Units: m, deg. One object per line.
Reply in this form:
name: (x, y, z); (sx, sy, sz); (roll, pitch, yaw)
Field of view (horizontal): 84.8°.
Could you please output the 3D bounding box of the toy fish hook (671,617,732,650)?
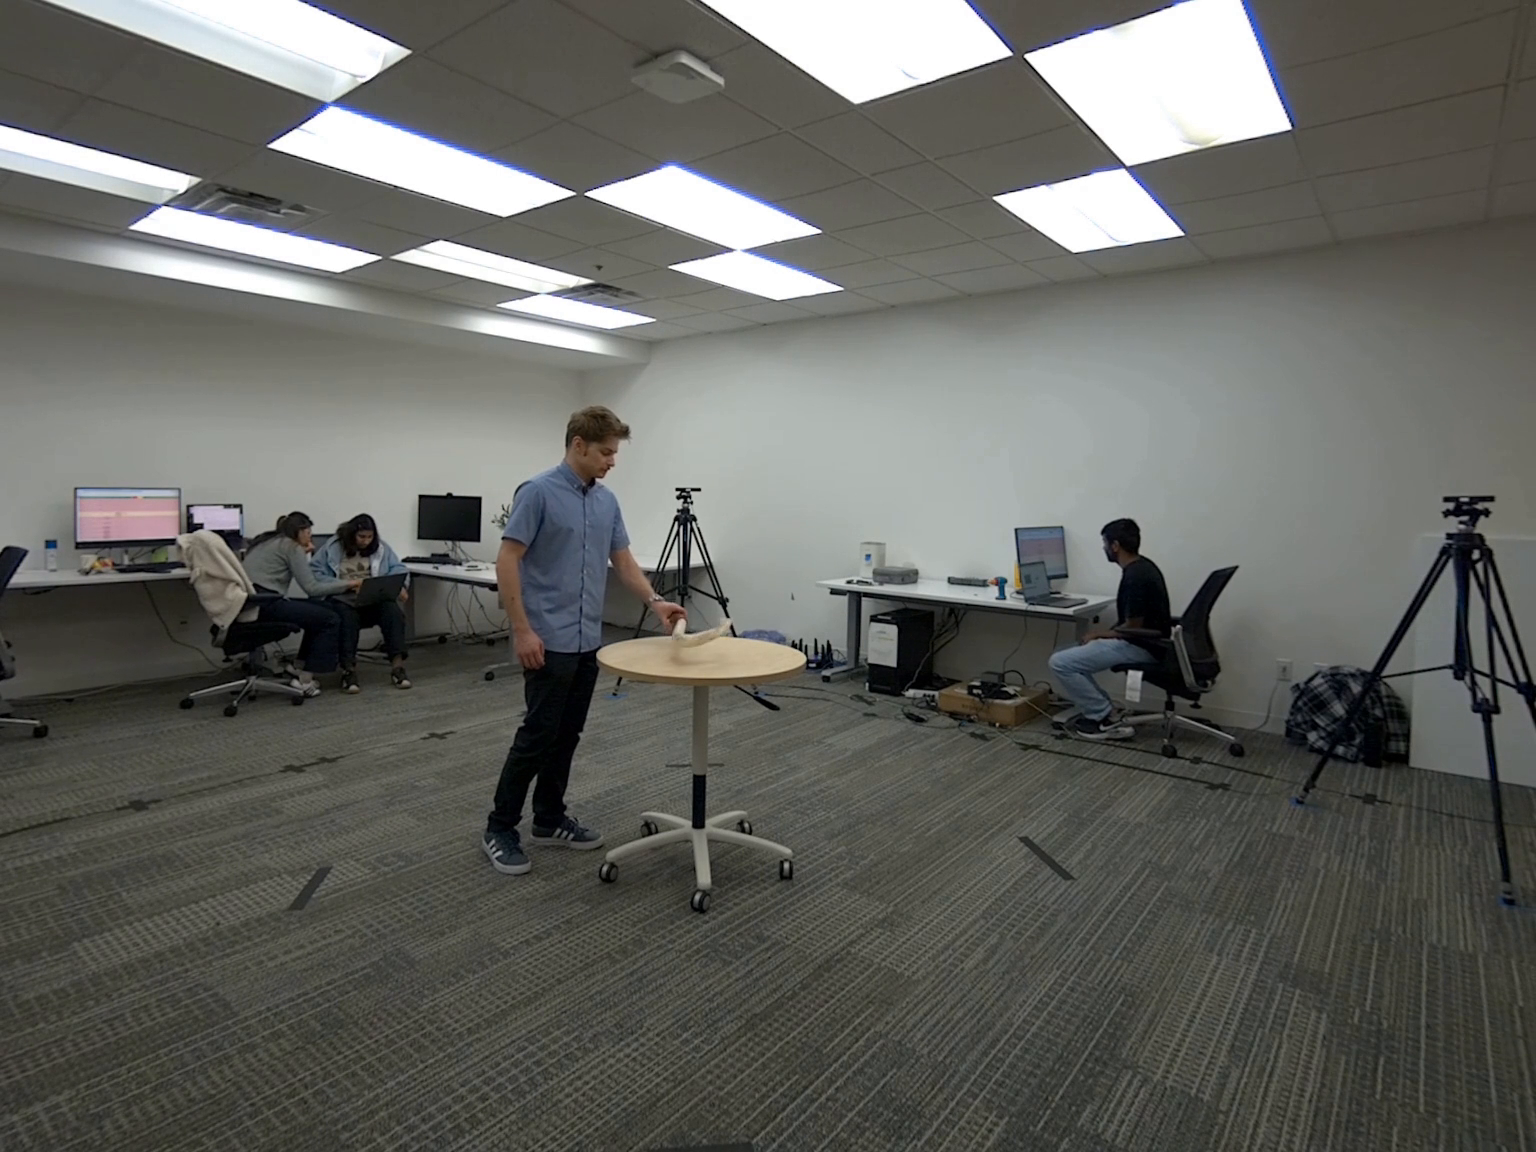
toy fish hook: (-0.285, 0.174, 3.165); (0.222, 0.048, 0.518); (-10, 12, -14)
